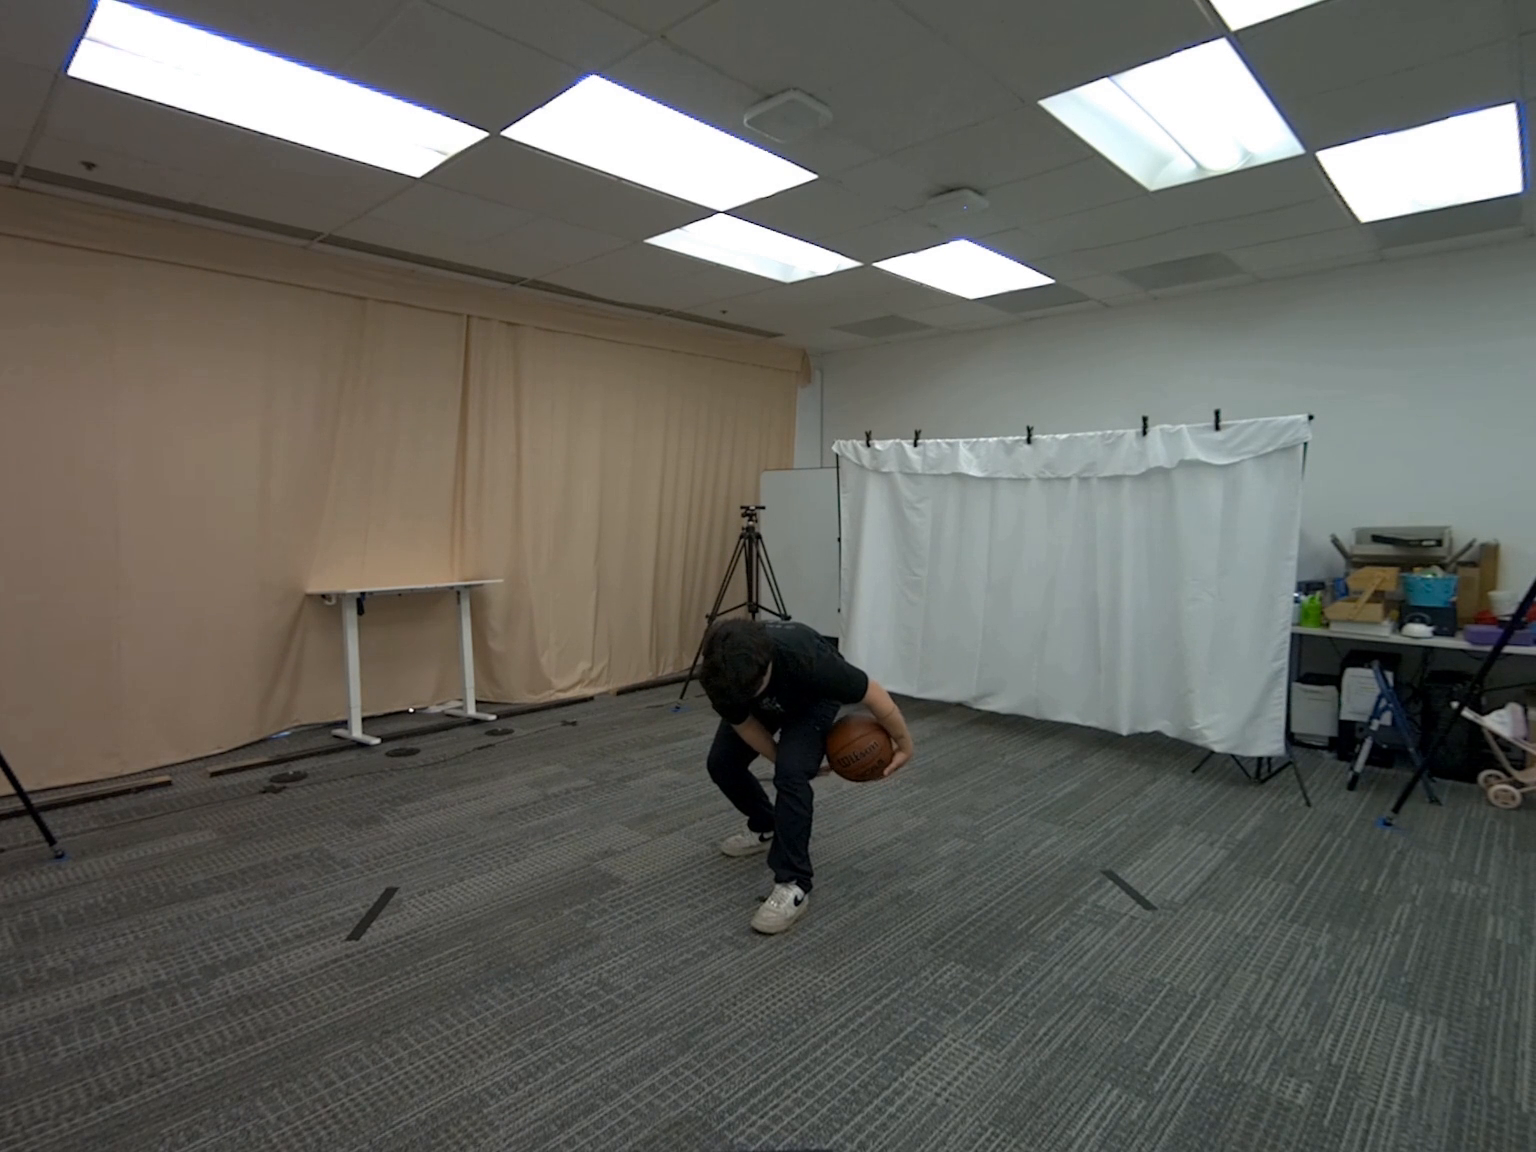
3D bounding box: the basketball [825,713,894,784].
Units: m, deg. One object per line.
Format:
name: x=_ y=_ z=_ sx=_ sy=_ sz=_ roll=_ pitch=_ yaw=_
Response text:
basketball: x=0.330 y=0.613 z=2.978 sx=0.236 sy=0.235 sz=0.237 roll=0 pitch=4 yaw=-2
